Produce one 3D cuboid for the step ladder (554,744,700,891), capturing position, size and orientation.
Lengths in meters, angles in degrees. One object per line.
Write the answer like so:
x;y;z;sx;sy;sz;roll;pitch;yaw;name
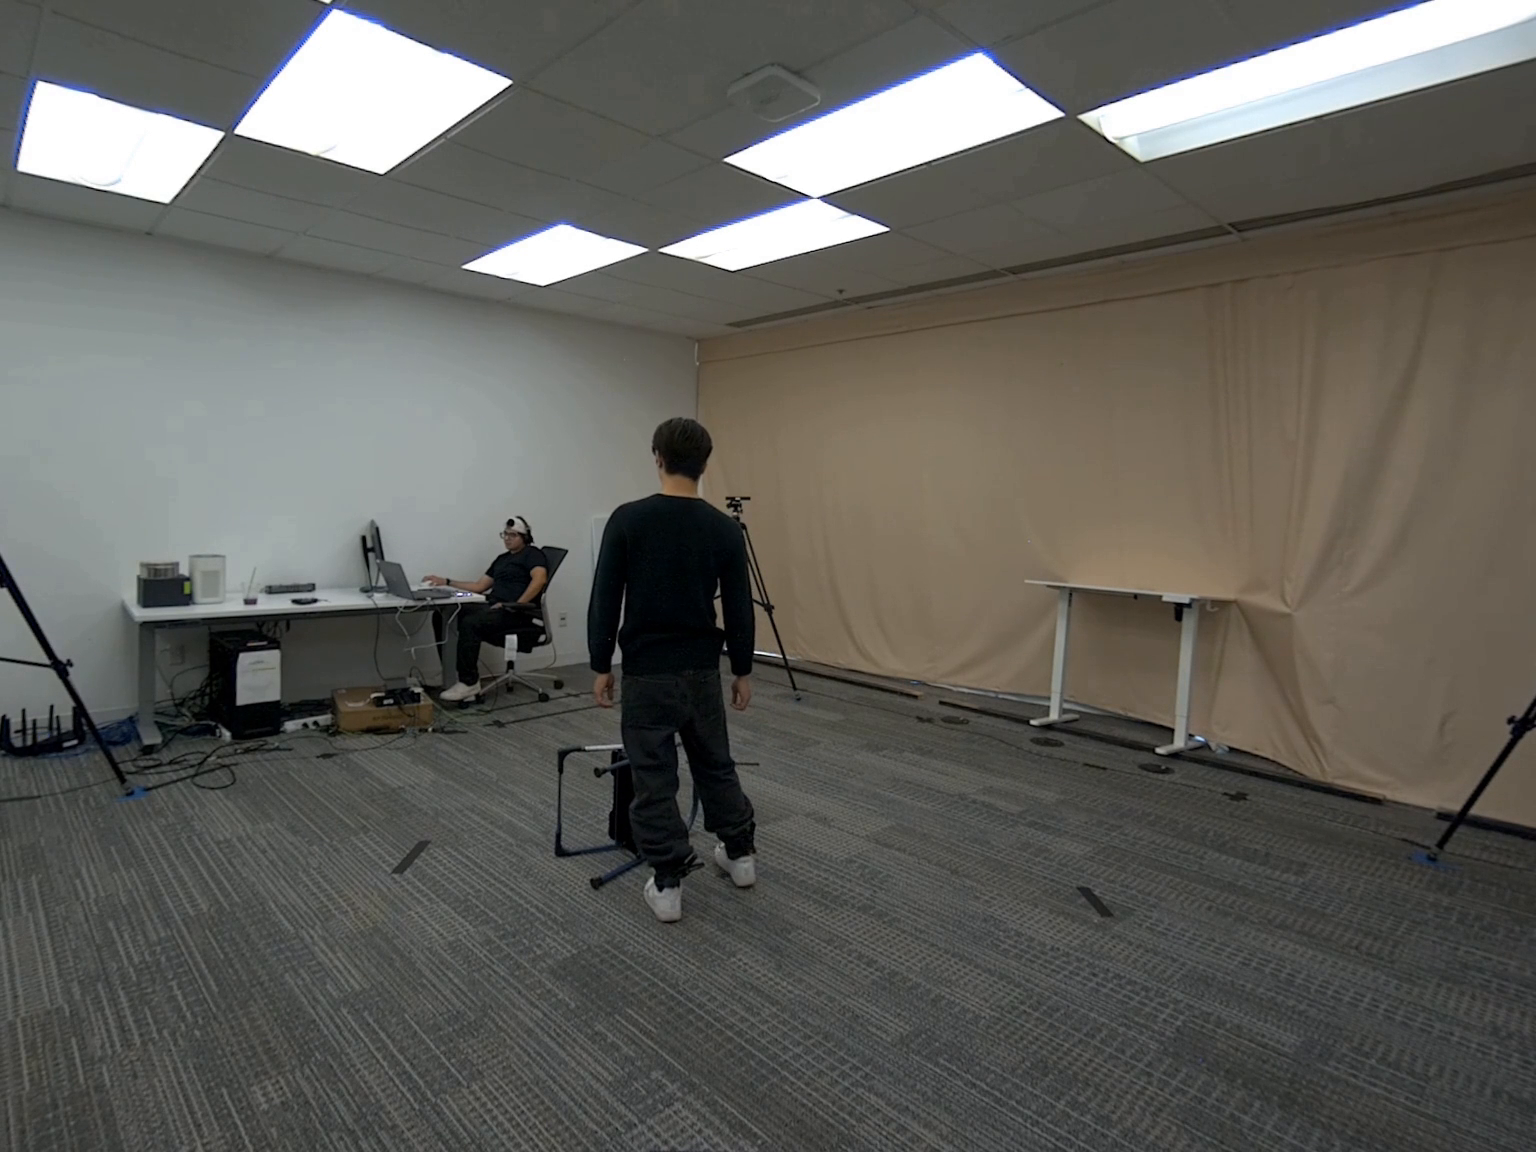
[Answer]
-0.490;0.878;3.279;0.592;0.430;0.358;0;4;-39;step ladder
